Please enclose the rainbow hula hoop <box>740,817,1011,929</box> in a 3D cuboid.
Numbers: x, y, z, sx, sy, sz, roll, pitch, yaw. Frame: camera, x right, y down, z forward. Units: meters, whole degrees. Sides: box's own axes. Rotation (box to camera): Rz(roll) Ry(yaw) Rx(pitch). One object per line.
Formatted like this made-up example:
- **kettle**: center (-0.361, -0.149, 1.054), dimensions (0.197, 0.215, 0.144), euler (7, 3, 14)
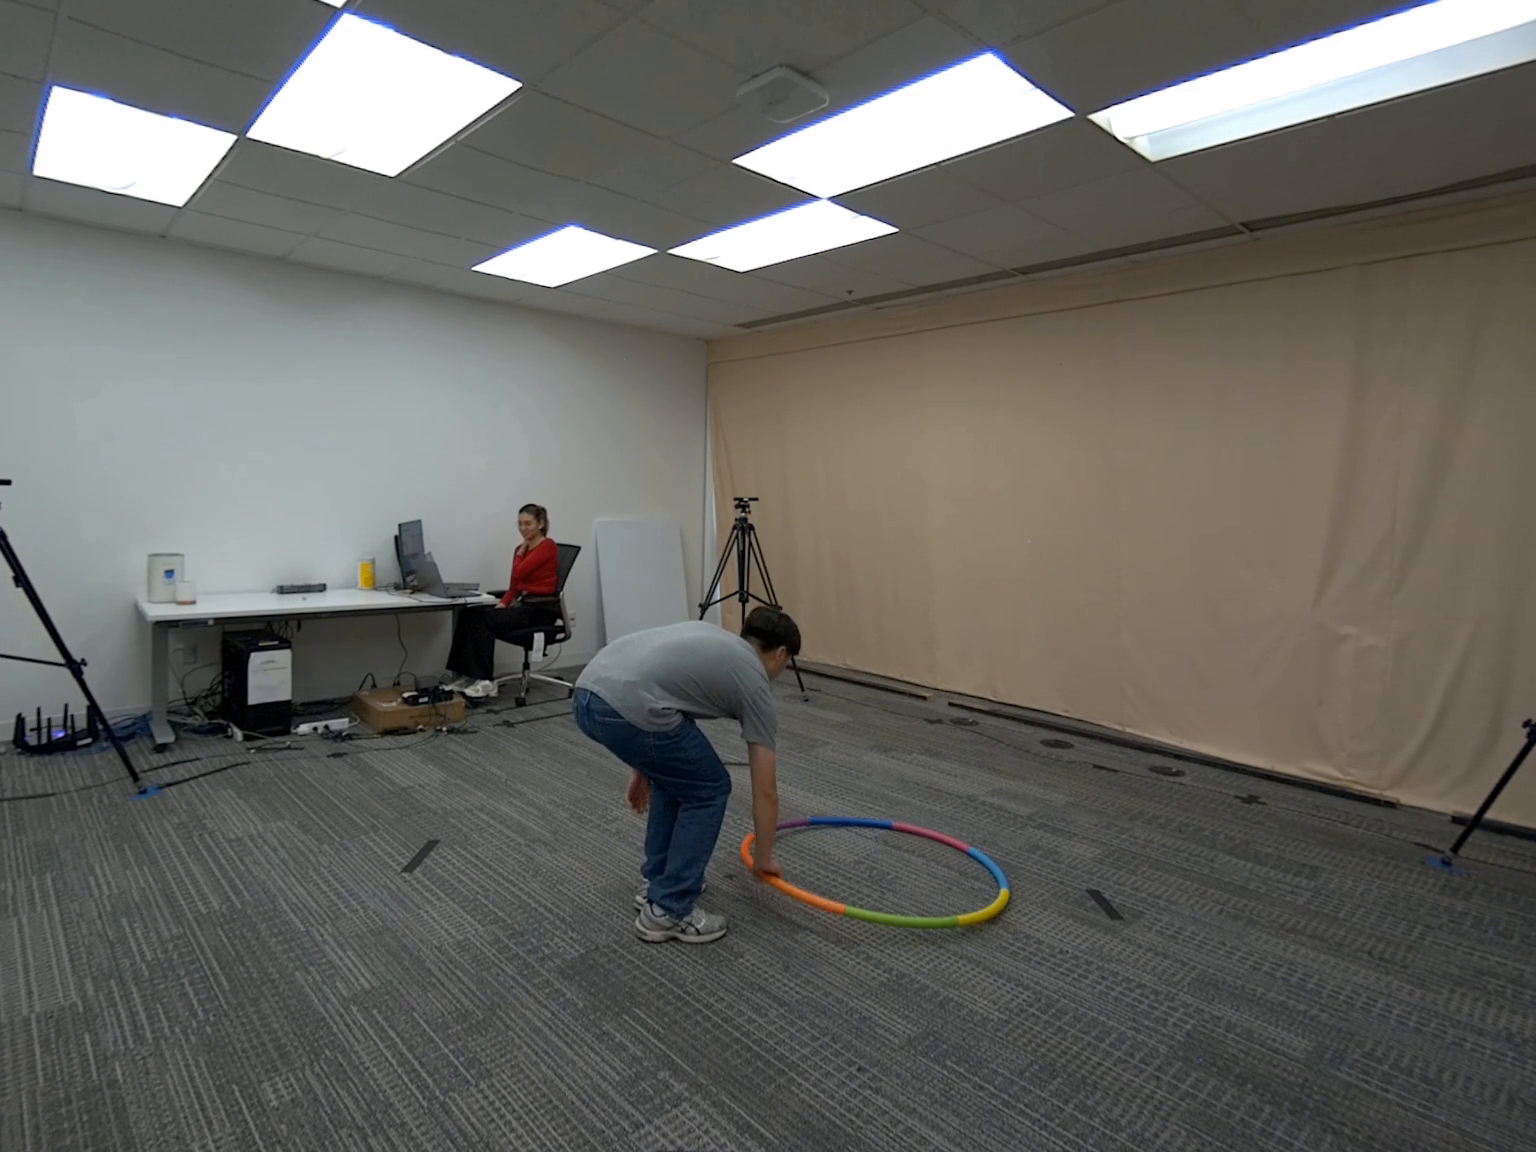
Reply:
- **rainbow hula hoop**: center (0.371, 1.036, 3.146), dimensions (0.978, 0.035, 0.980), euler (5, 2, -1)
